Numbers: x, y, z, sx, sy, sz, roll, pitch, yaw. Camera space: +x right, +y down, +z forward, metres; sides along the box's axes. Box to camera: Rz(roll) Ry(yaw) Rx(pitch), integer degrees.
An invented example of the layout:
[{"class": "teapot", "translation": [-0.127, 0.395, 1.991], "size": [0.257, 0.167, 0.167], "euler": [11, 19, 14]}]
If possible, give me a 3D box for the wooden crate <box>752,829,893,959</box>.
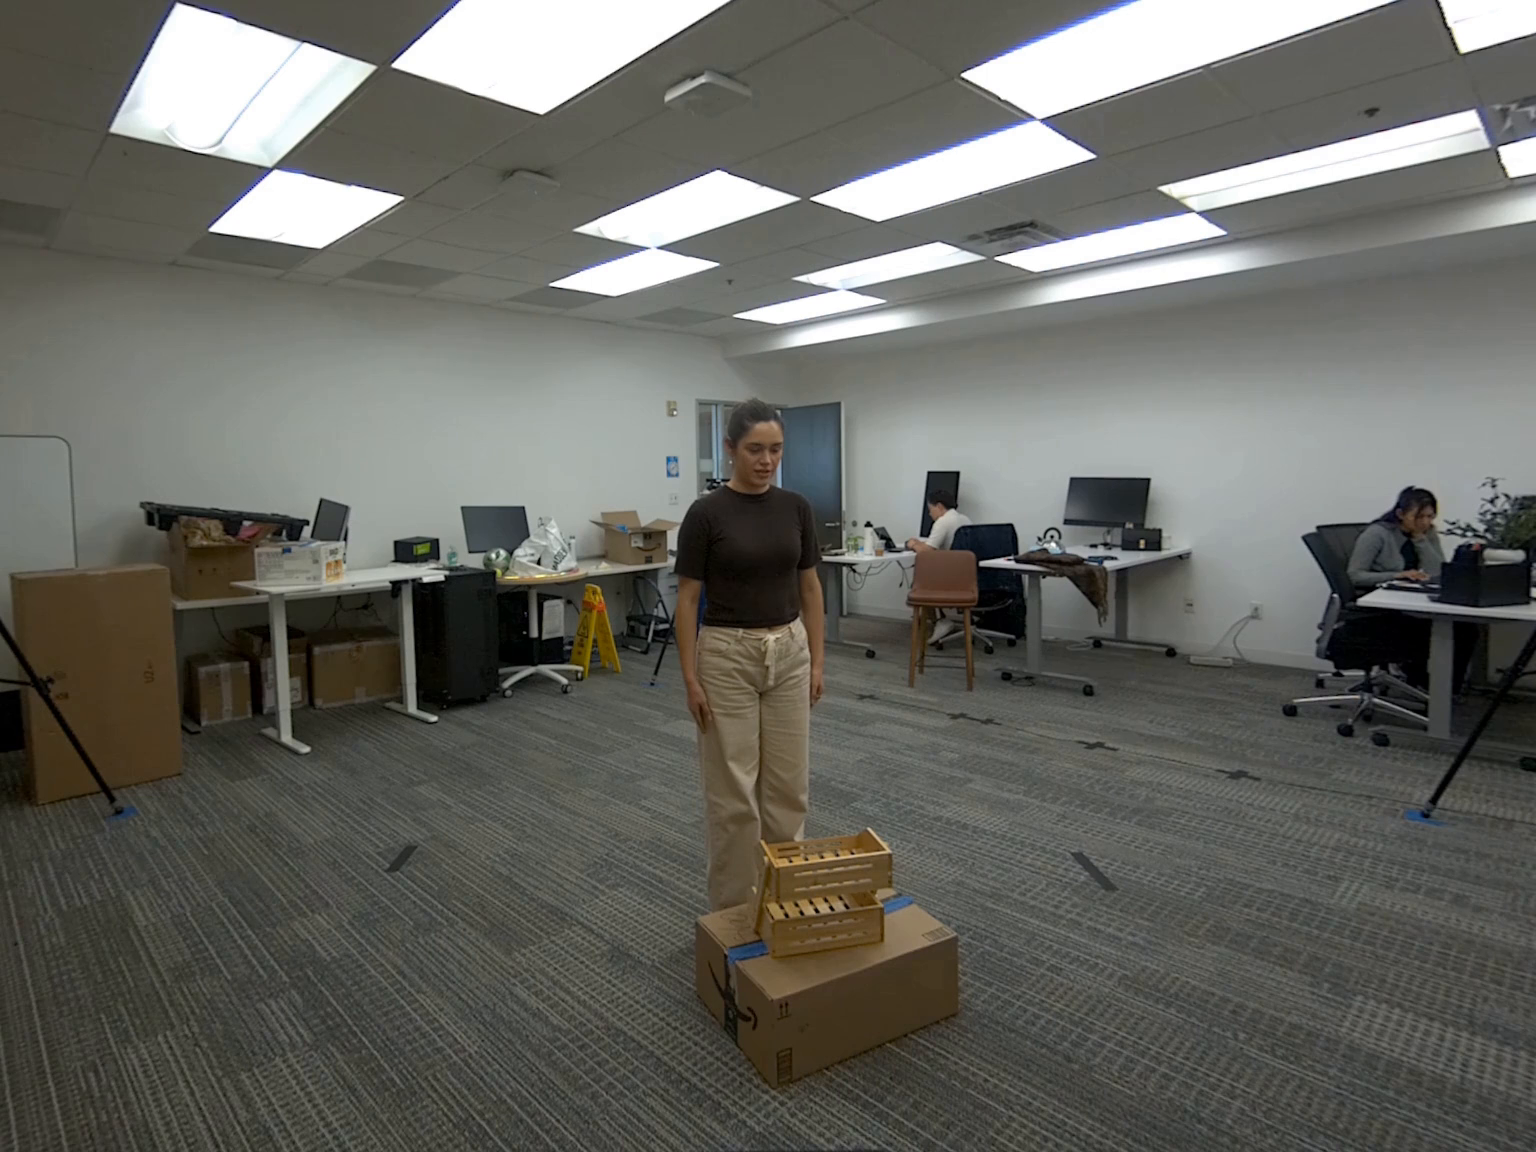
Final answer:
[{"class": "wooden crate", "translation": [0.130, 0.794, 2.244], "size": [0.320, 0.272, 0.307], "euler": [-3, 7, -14]}]
